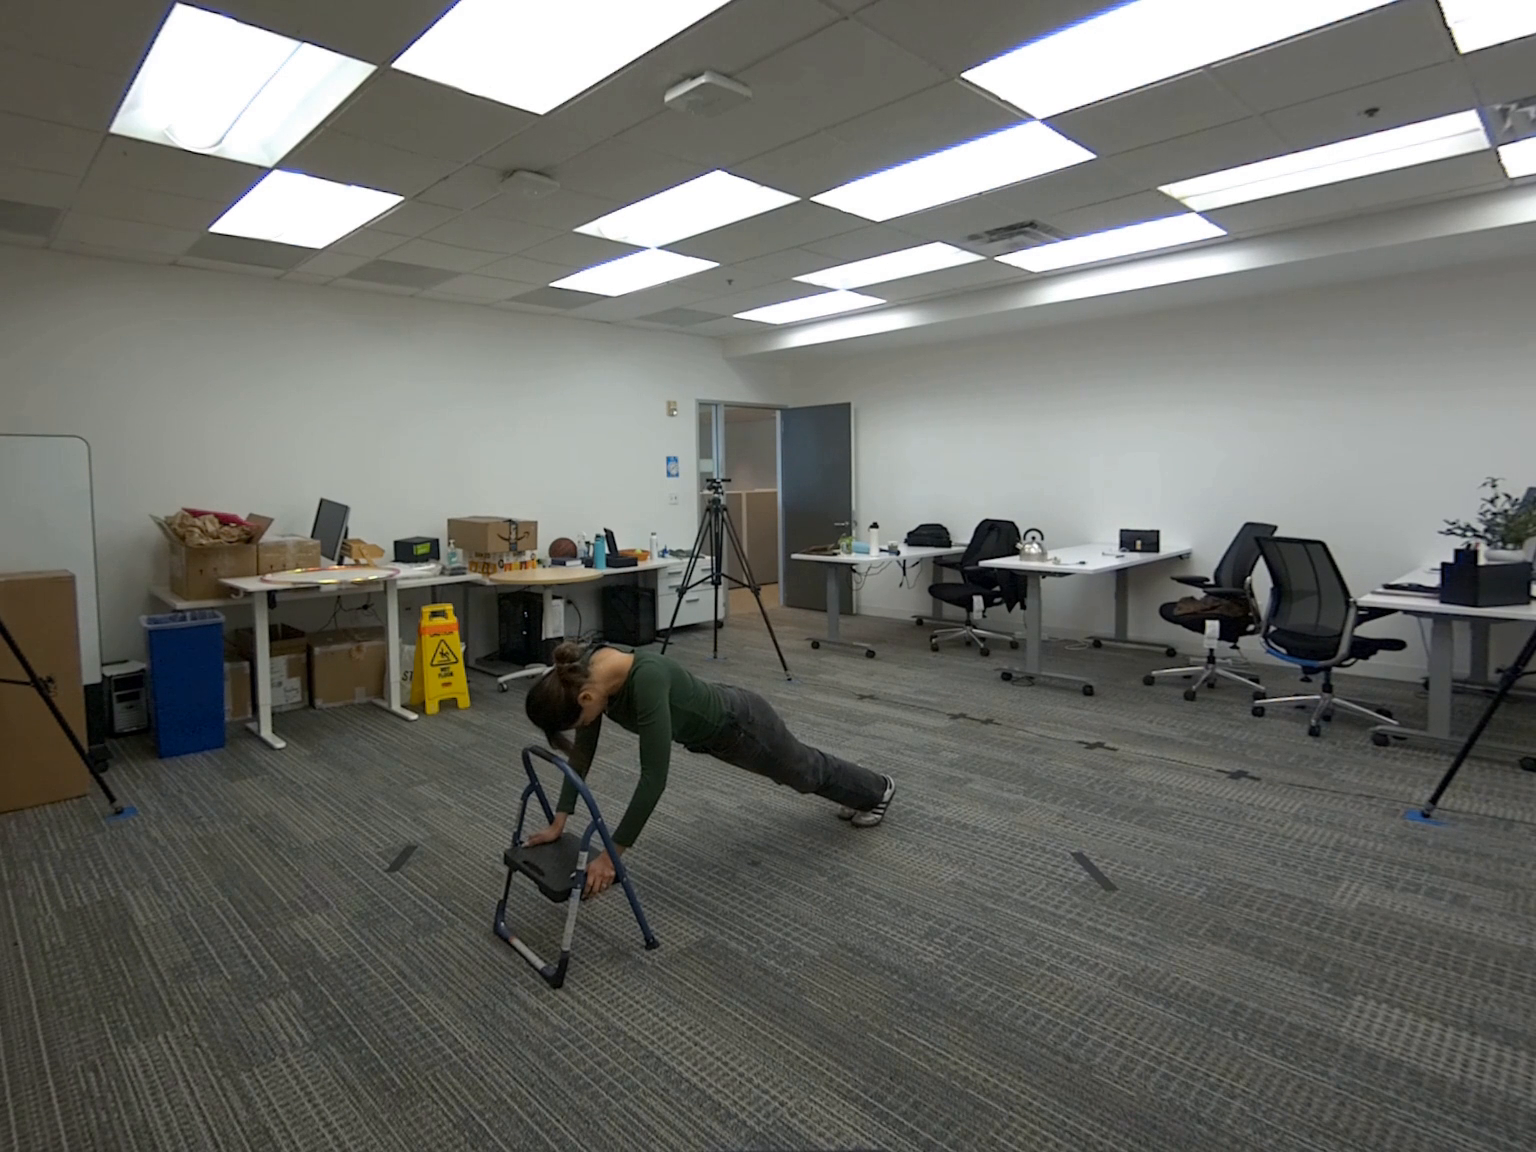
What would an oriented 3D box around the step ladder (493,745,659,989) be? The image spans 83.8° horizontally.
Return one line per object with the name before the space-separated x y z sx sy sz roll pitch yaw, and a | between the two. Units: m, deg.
step ladder | -0.599 0.813 2.603 0.340 0.604 0.444 -5 6 -41
